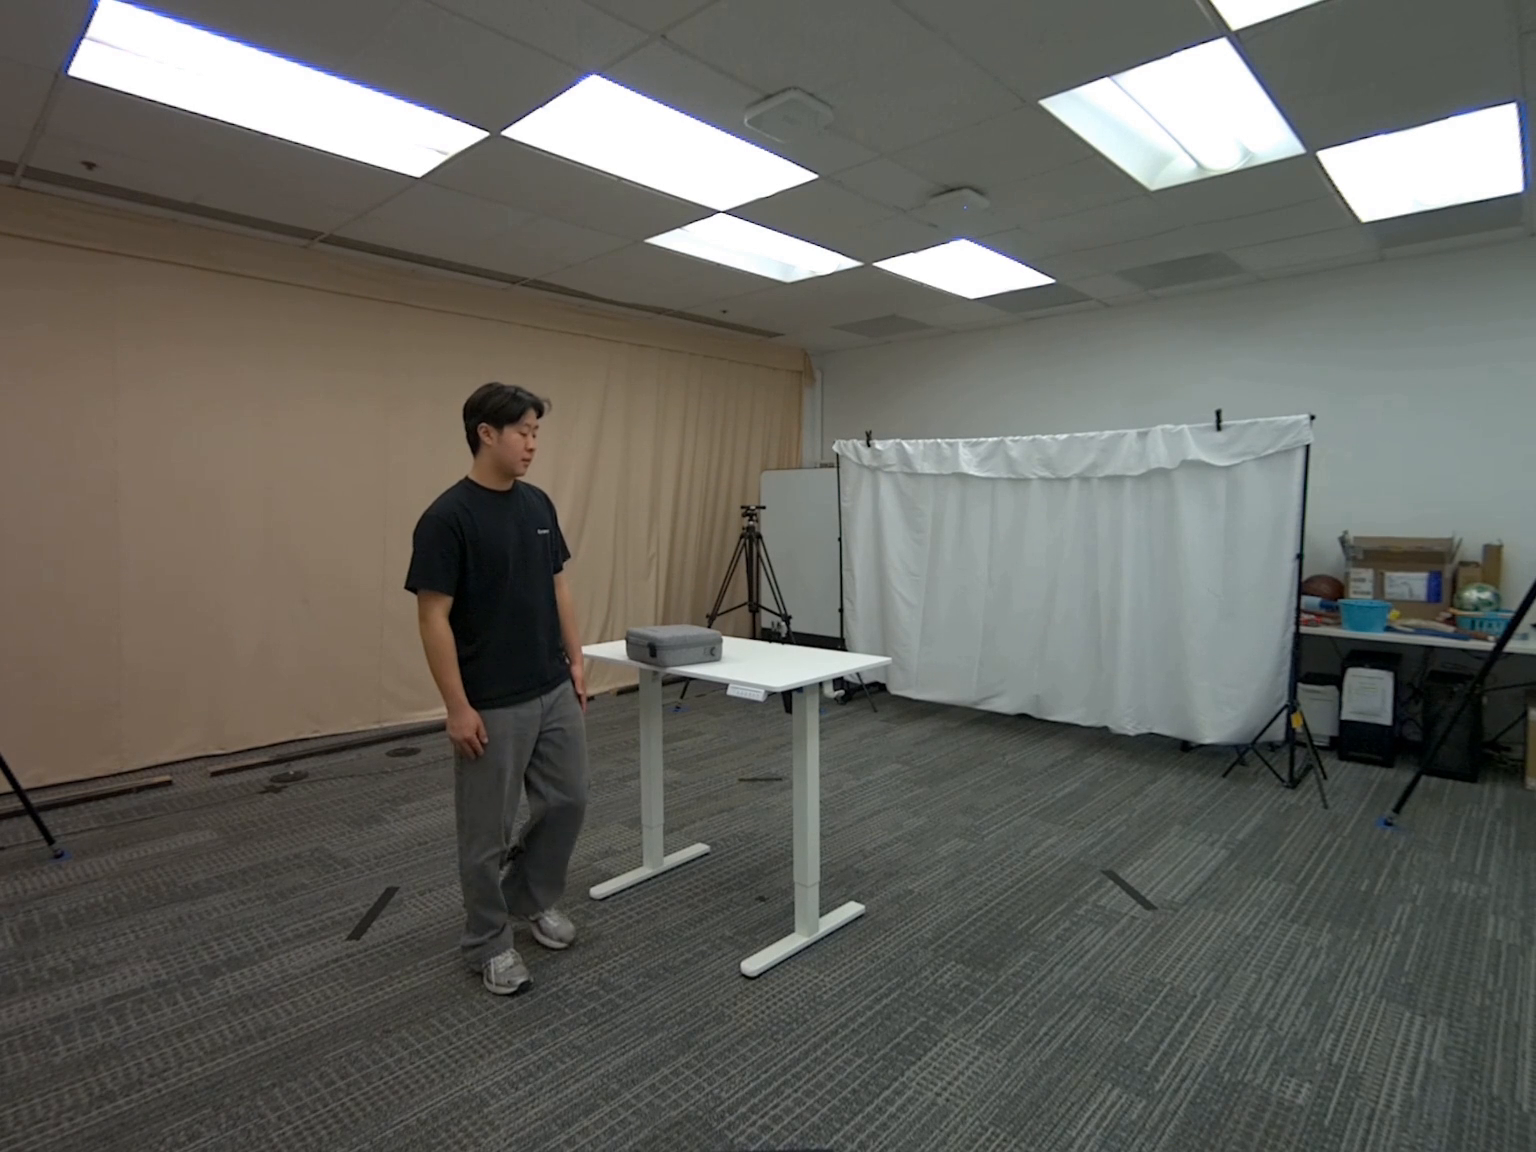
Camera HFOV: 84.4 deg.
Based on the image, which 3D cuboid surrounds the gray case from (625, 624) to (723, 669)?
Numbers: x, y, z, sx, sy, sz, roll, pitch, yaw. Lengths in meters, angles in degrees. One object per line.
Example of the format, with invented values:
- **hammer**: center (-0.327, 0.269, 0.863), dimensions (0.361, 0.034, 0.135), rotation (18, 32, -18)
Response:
- **gray case**: center (-0.310, 0.227, 2.798), dimensions (0.253, 0.104, 0.265), rotation (-2, 4, -34)
